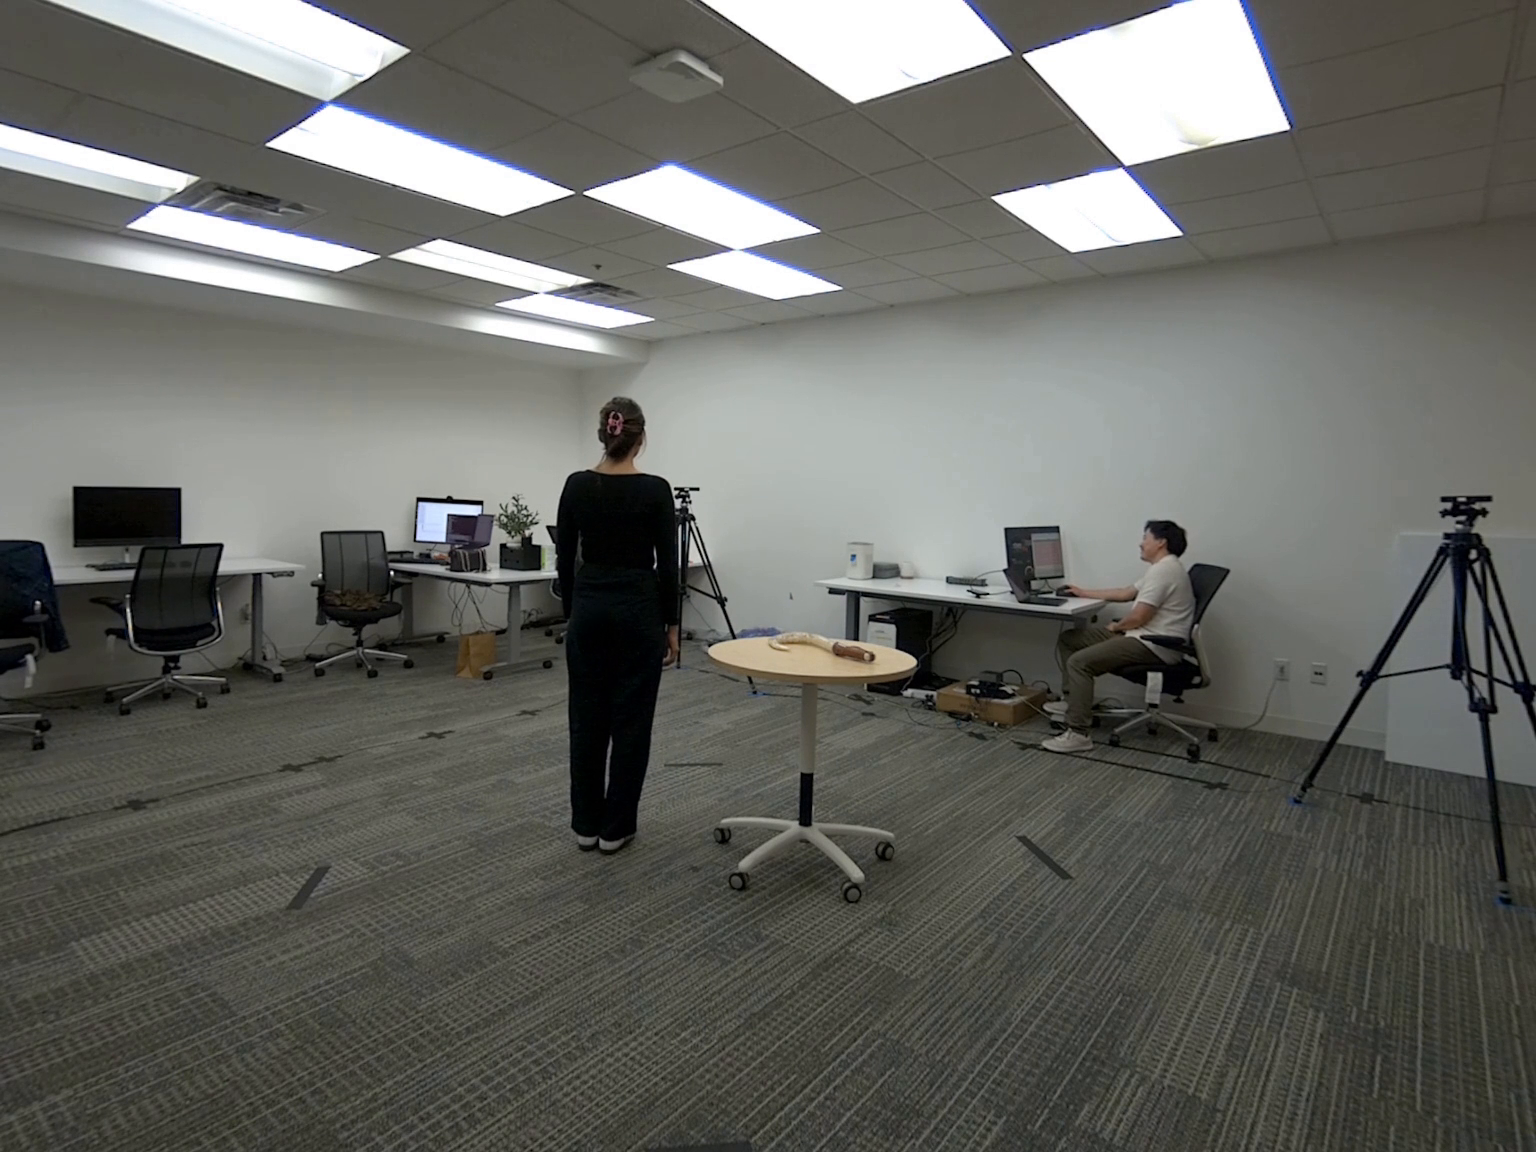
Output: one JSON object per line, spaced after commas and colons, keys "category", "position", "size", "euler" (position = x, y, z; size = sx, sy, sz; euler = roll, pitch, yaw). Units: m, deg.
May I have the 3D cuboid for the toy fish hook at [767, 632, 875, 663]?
{"category": "toy fish hook", "position": [0.178, 0.273, 3.184], "size": [0.219, 0.048, 0.522], "euler": [-13, 11, -32]}
